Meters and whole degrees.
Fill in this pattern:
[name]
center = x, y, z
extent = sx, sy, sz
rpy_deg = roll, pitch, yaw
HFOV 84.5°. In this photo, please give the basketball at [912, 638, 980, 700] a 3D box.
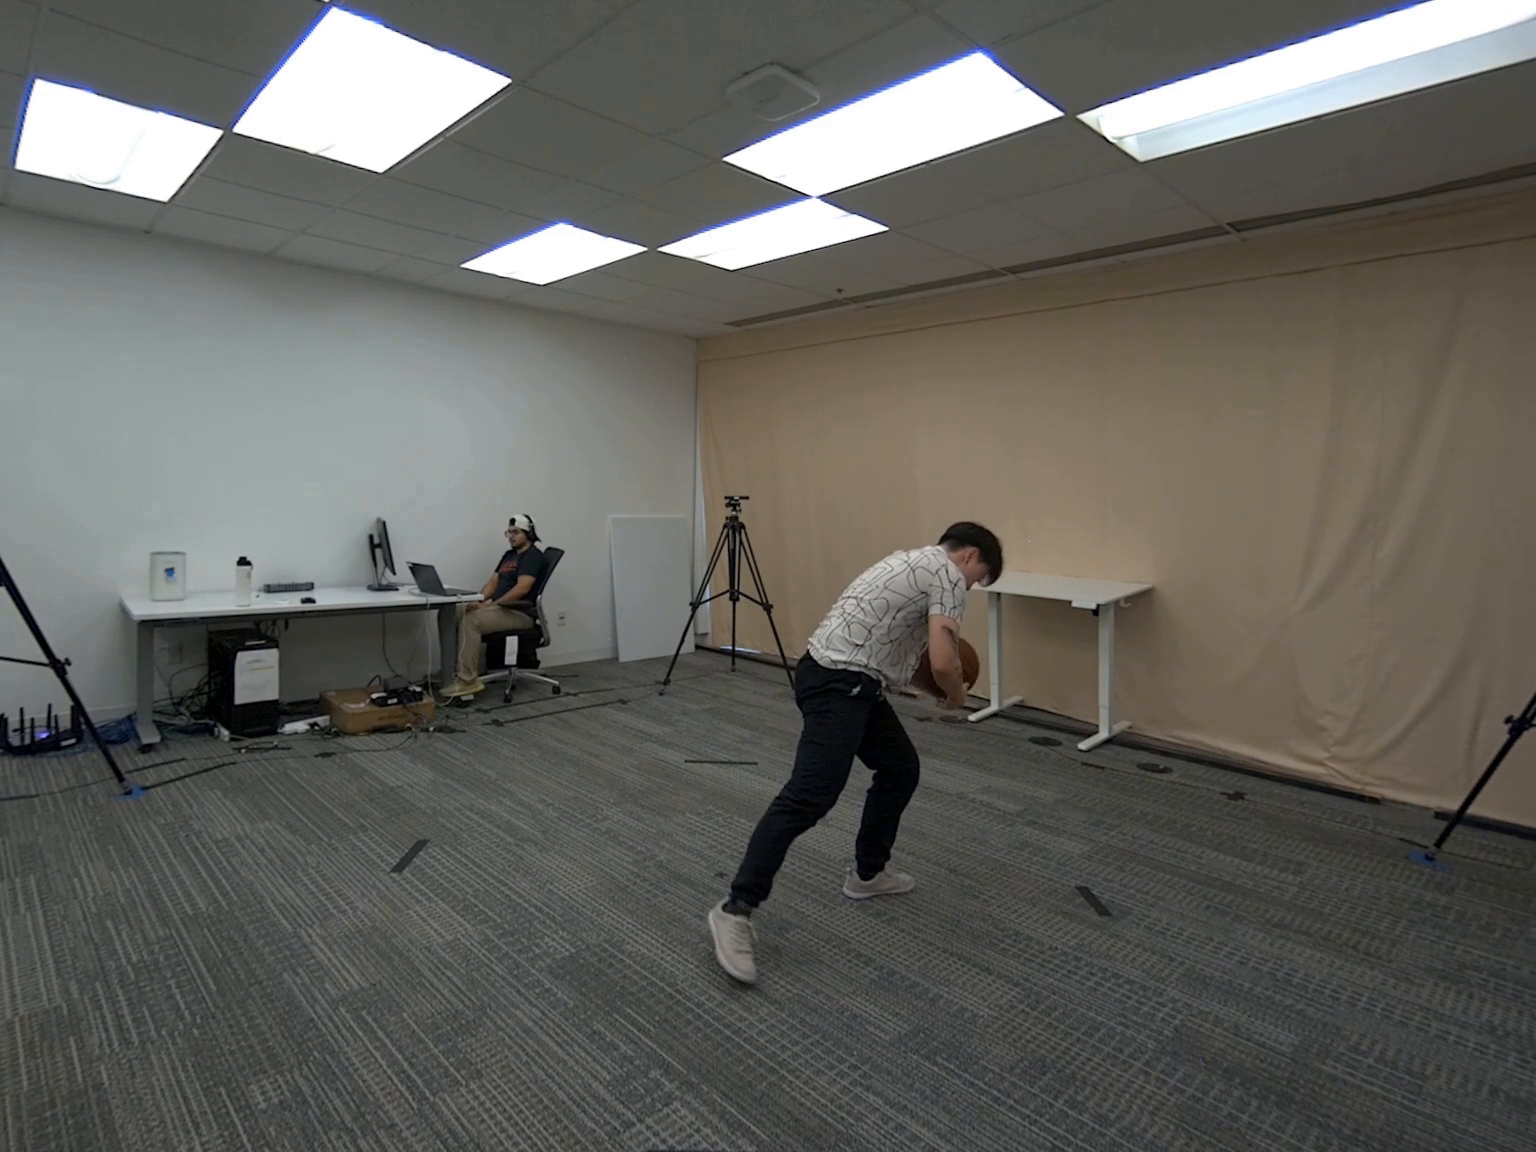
[basketball]
center = 0.658, 0.348, 3.141
extent = 0.236, 0.235, 0.237
rpy_deg = 1, 4, -1
